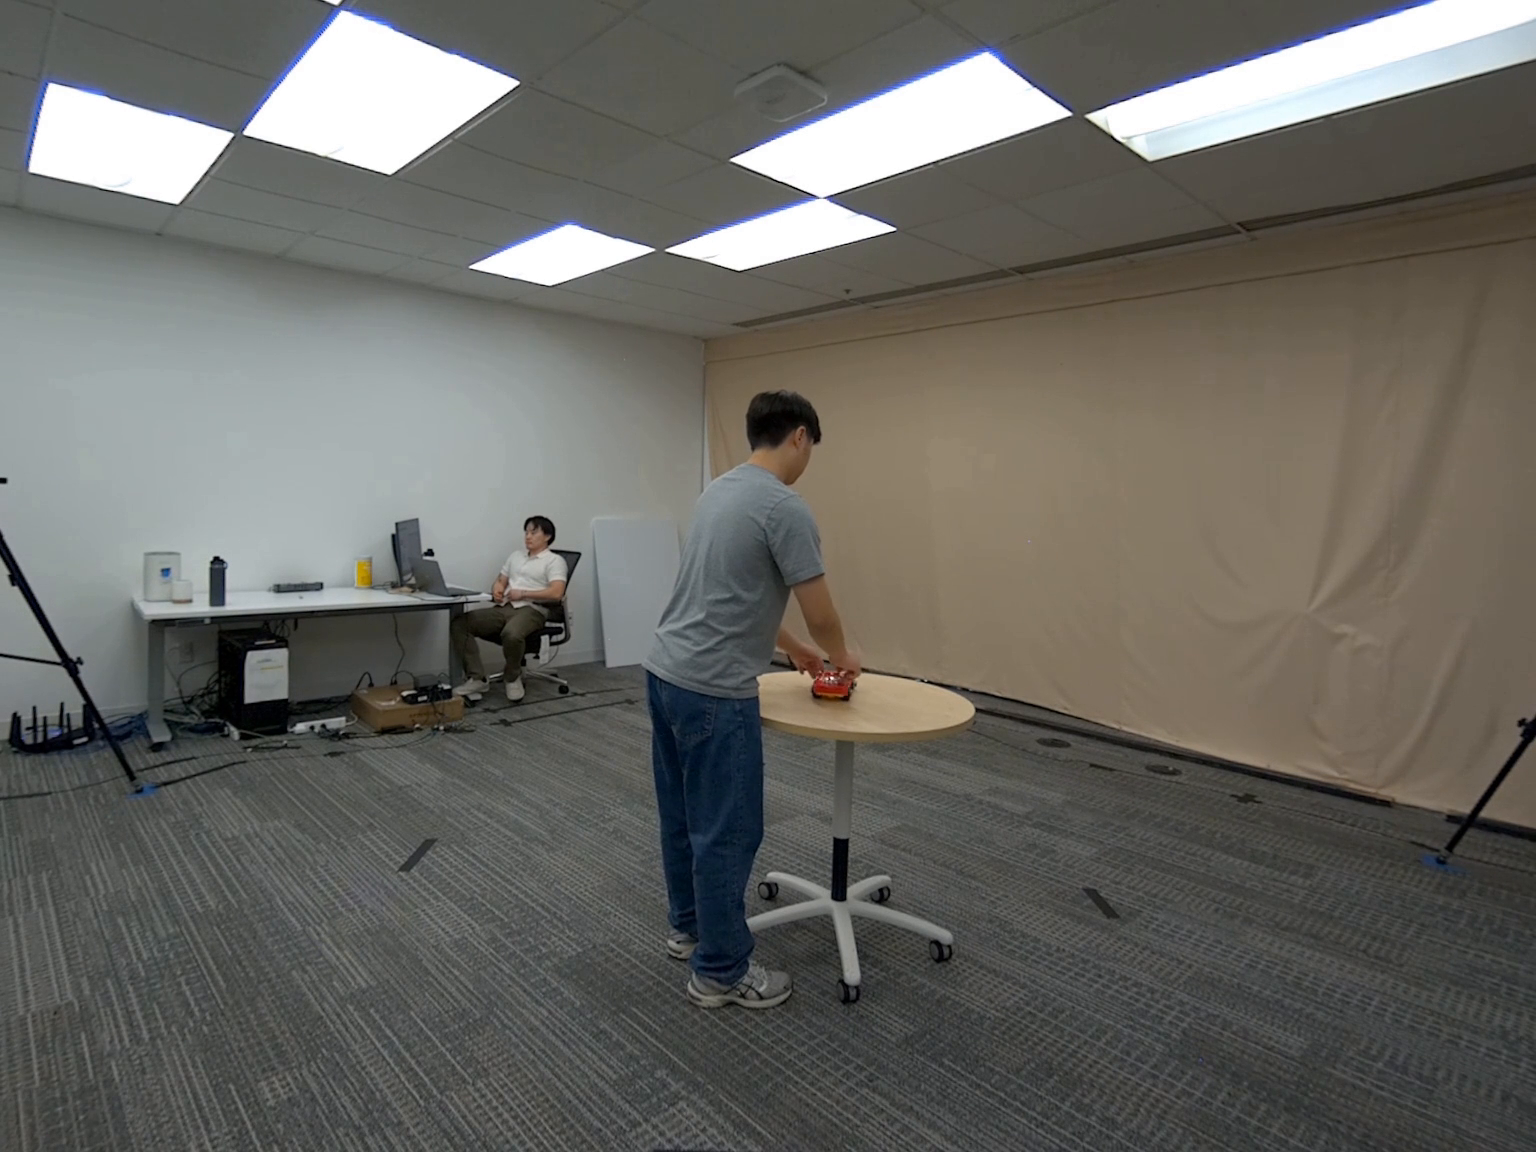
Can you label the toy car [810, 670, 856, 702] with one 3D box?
[{"bbox_3d":[0.203,0.344,2.624,0.131,0.083,0.251,3,-5,10],"label":"toy car"}]
